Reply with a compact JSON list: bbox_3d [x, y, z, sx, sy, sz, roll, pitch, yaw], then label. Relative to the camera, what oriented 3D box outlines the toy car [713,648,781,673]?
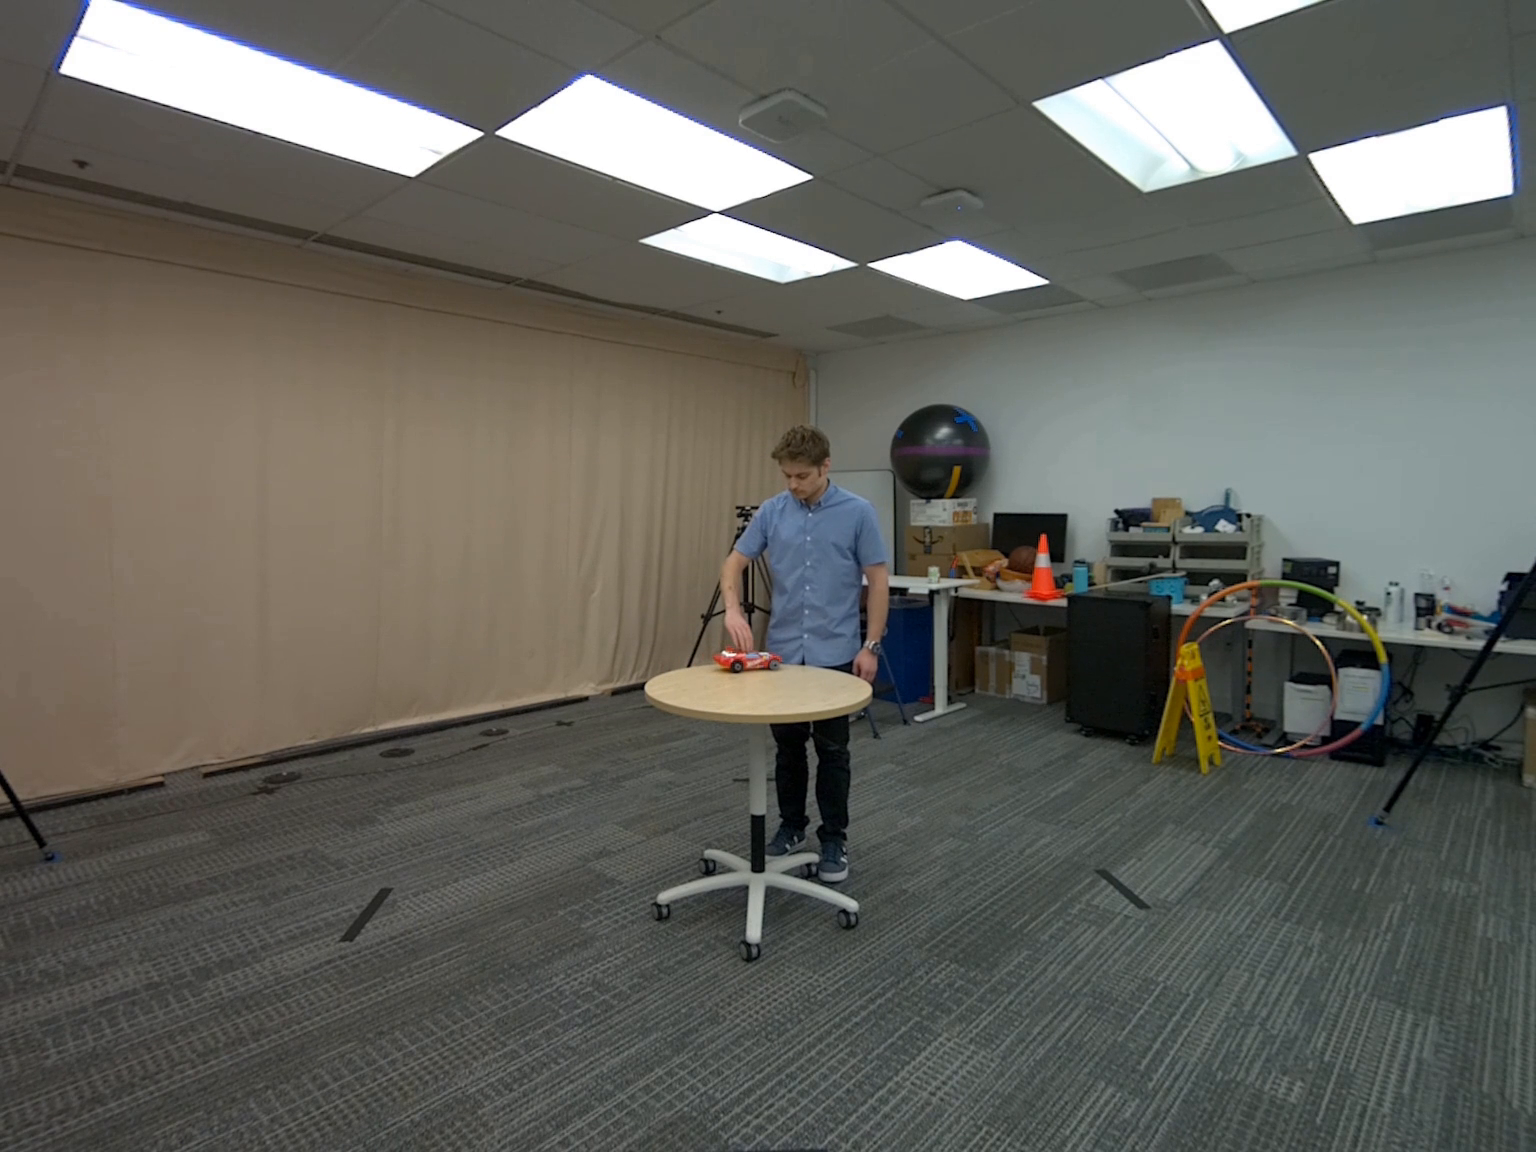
[{"bbox_3d":[-0.086,0.316,3.112,0.250,0.083,0.133,11,2,-17],"label":"toy car"}]
